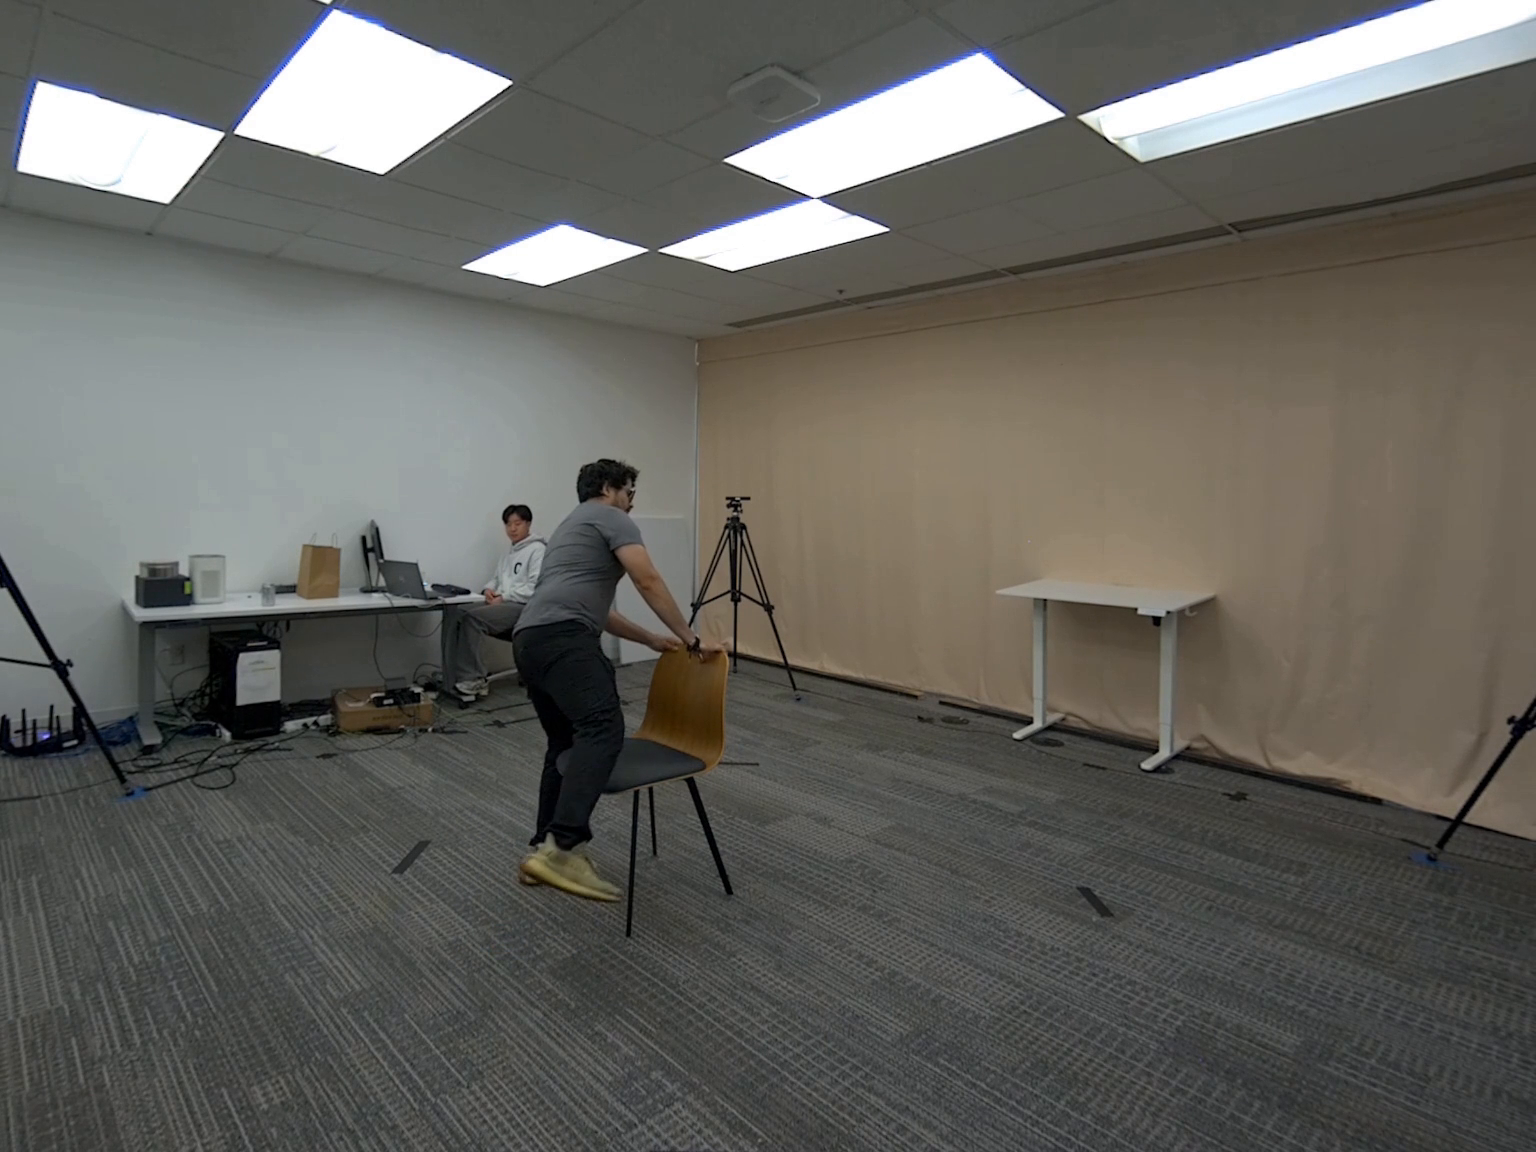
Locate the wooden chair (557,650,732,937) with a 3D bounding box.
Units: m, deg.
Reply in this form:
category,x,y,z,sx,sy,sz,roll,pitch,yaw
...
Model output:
category,x,y,z,sx,sy,sz,roll,pitch,yaw
wooden chair,-0.439,0.687,2.933,0.510,0.877,0.490,4,1,-44
